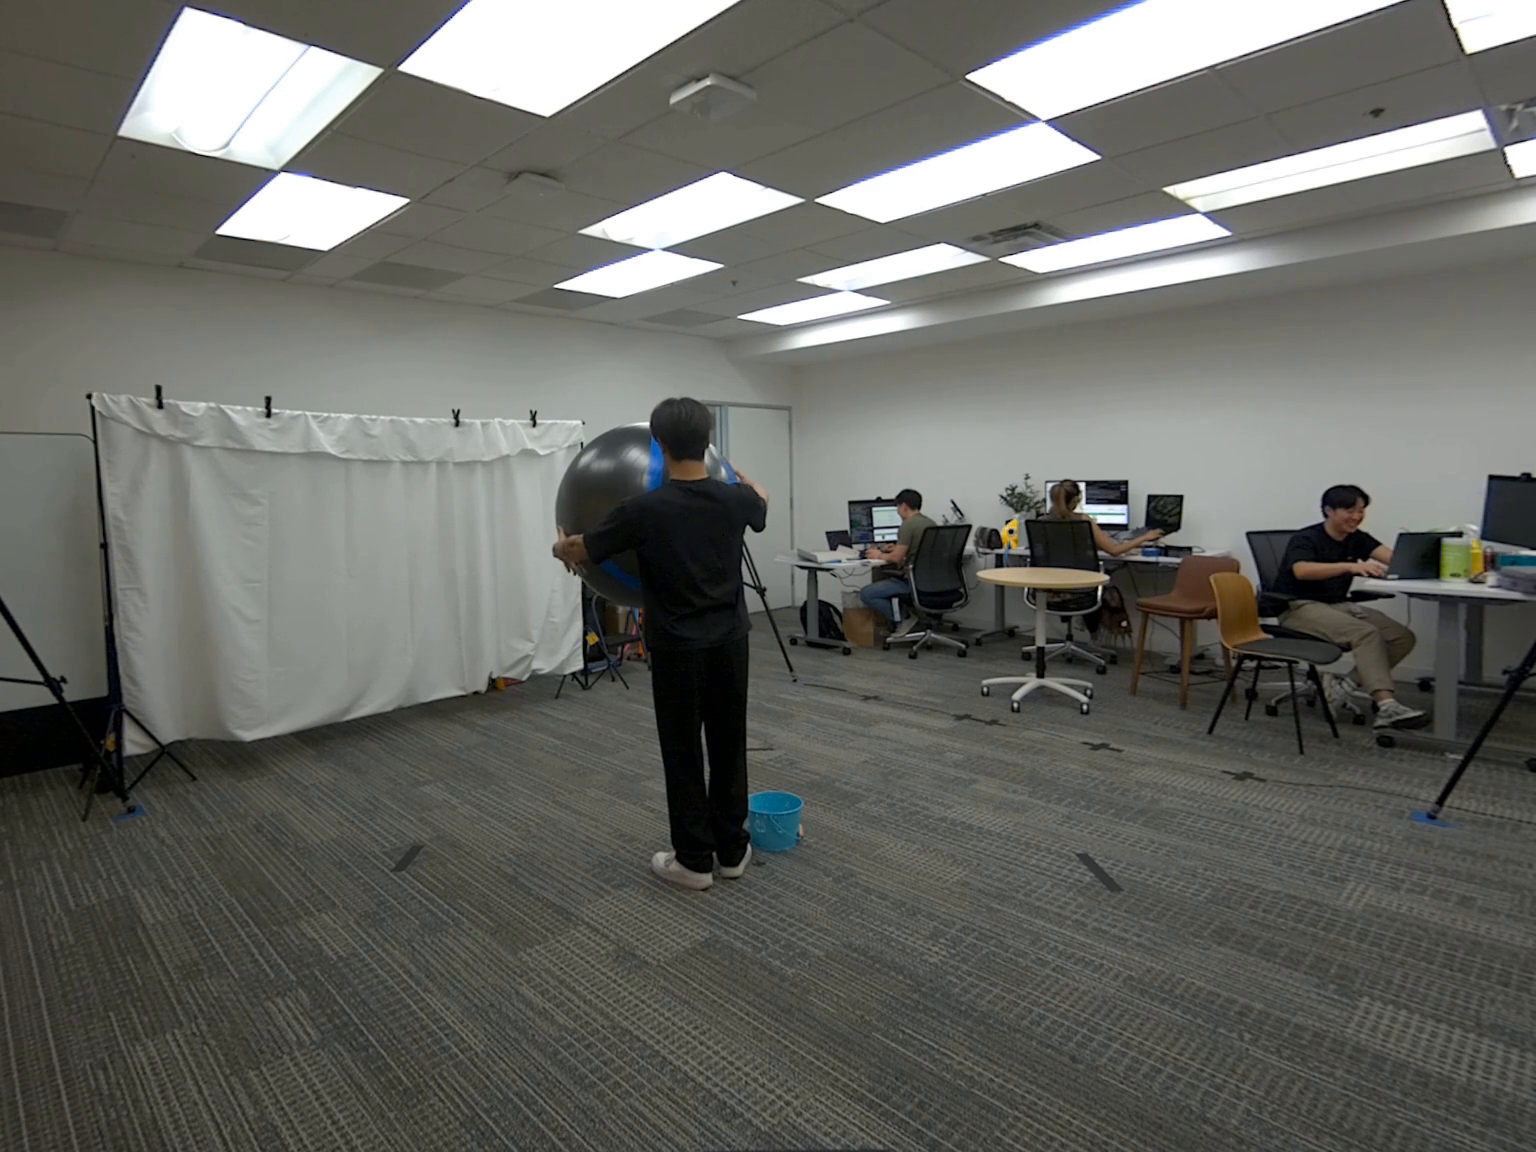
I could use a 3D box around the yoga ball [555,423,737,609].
[{"bbox_3d":[-0.475,-0.241,3.463,0.757,0.755,0.762,-1,5,-2],"label":"yoga ball"}]
